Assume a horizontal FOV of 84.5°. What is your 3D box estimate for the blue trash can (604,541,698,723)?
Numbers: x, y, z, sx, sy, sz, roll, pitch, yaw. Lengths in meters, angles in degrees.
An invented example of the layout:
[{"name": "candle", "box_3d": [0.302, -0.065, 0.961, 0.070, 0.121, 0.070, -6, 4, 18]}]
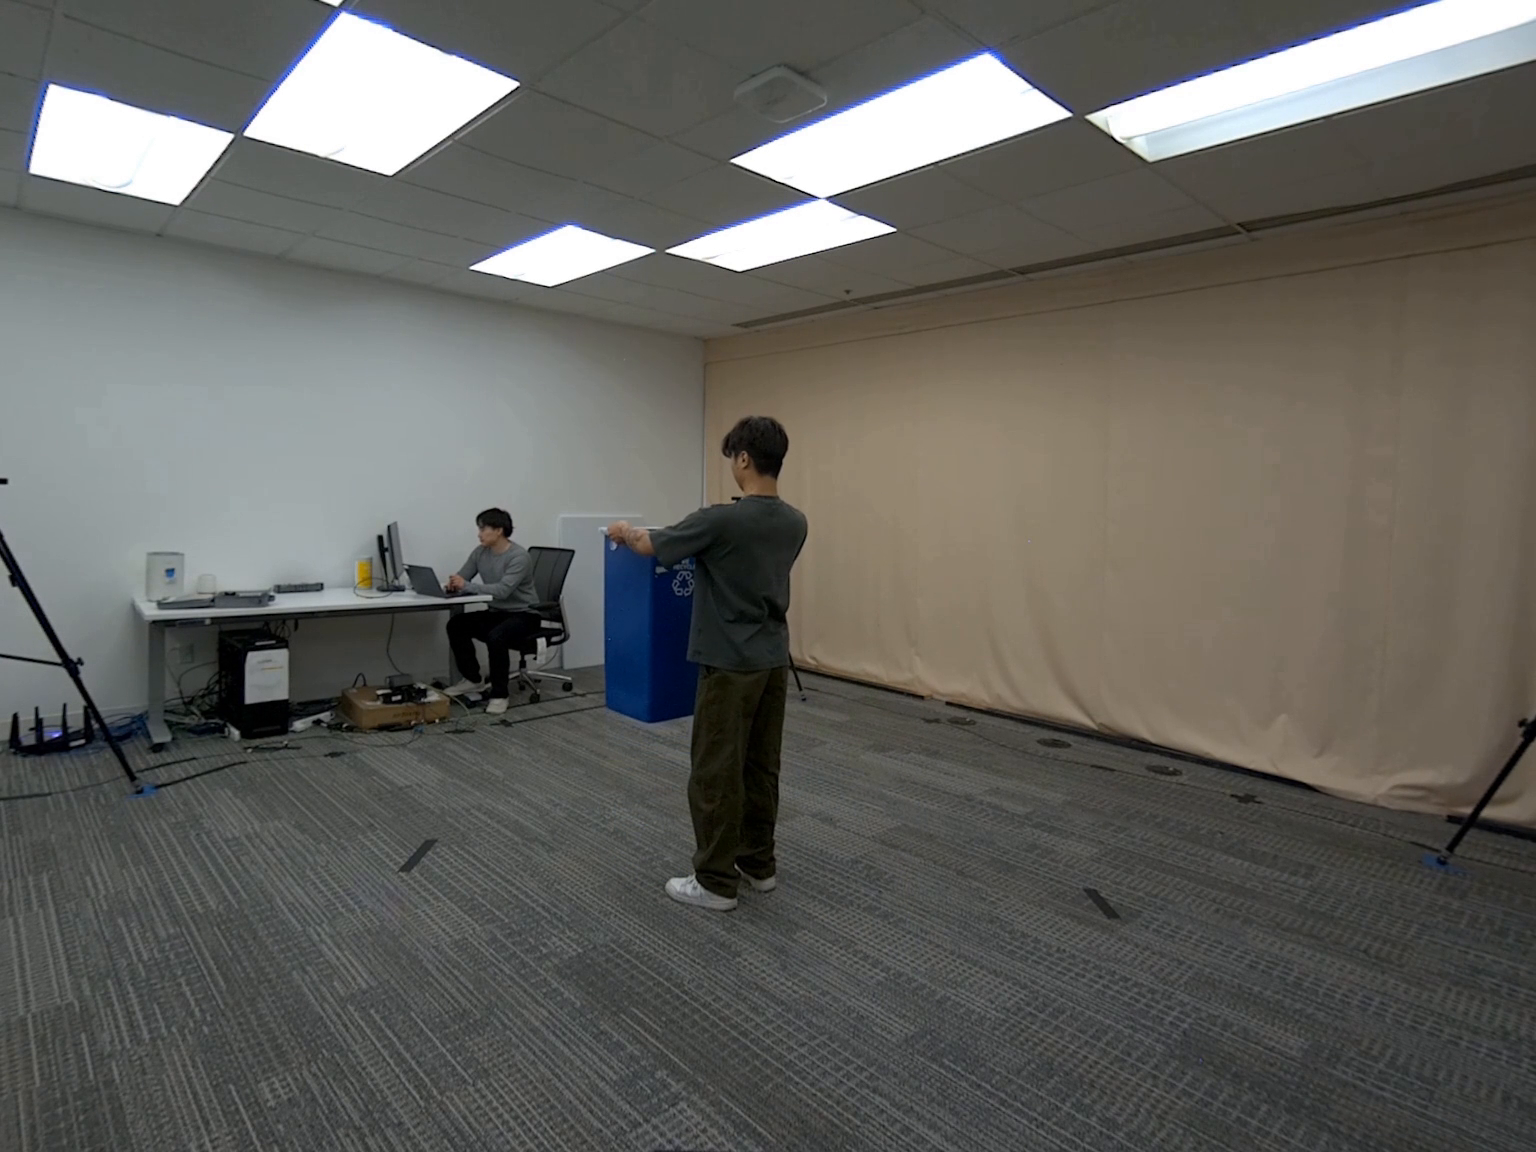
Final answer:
[{"name": "blue trash can", "box_3d": [-0.442, 0.180, 3.312, 0.369, 0.711, 0.384, -2, 6, -44]}]
